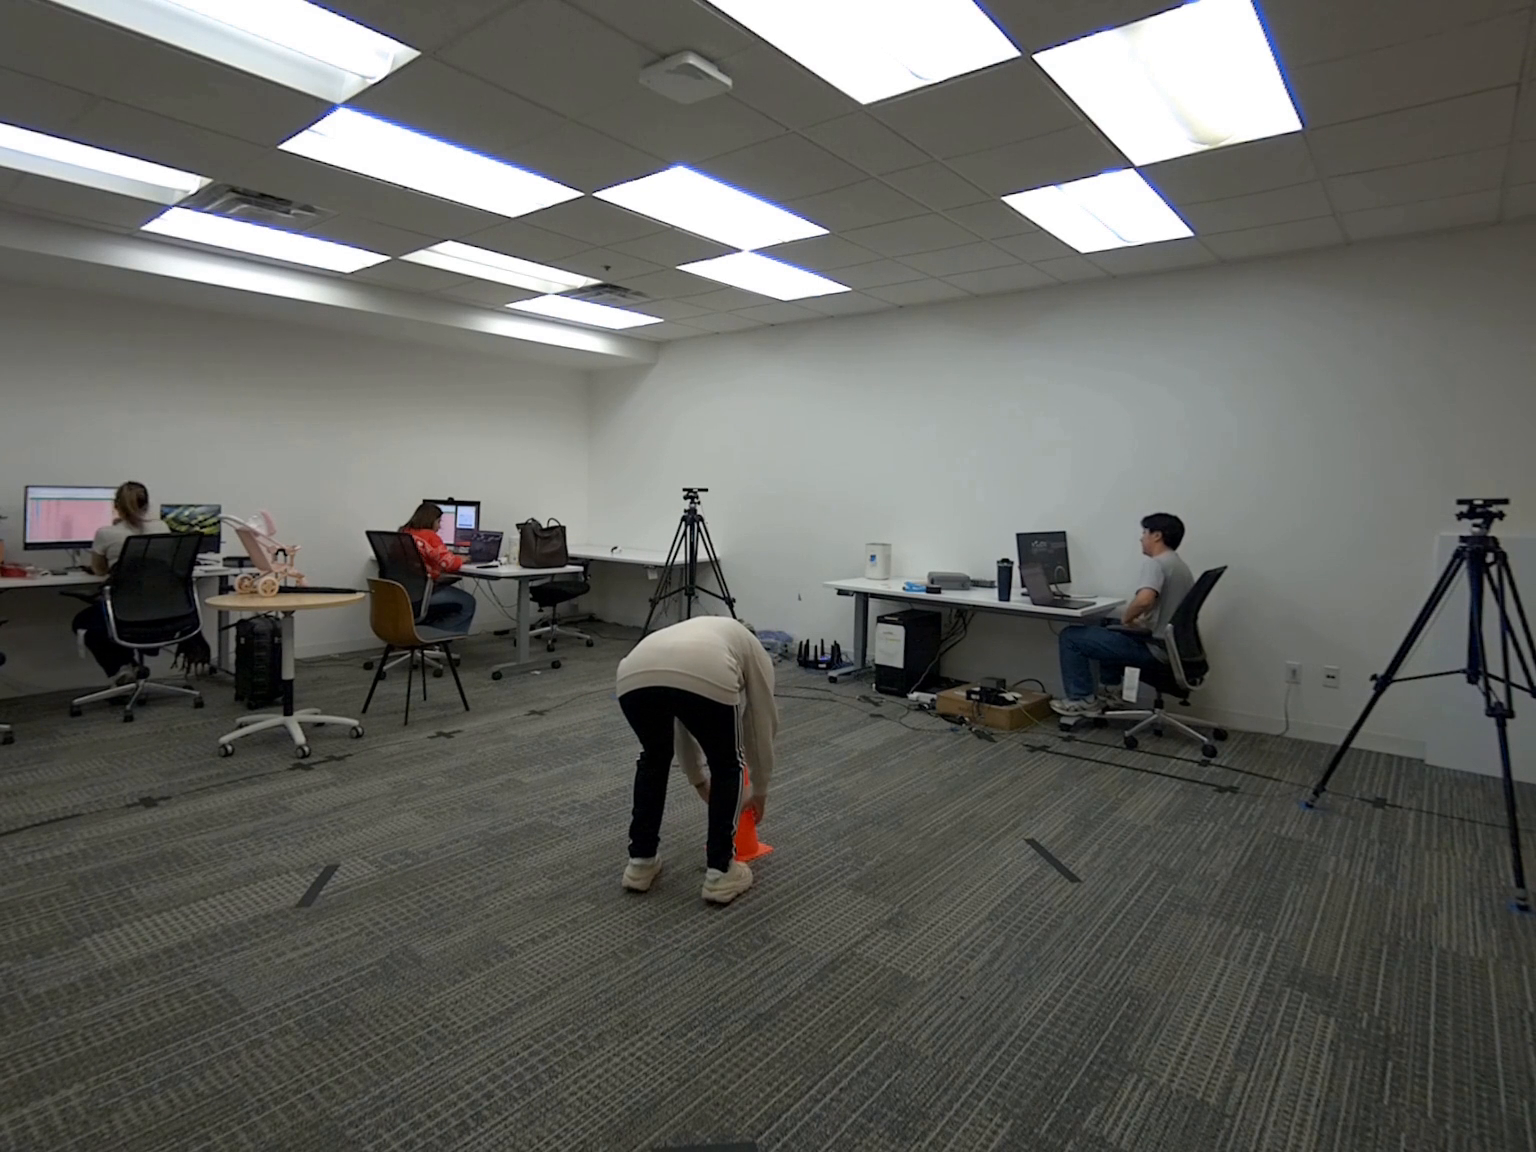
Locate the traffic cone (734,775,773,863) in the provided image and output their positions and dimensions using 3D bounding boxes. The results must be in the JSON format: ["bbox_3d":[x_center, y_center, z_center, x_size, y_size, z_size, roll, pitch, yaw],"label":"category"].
[{"bbox_3d":[-0.120,0.872,3.283,0.197,0.382,0.212,-2,5,-38],"label":"traffic cone"}]
